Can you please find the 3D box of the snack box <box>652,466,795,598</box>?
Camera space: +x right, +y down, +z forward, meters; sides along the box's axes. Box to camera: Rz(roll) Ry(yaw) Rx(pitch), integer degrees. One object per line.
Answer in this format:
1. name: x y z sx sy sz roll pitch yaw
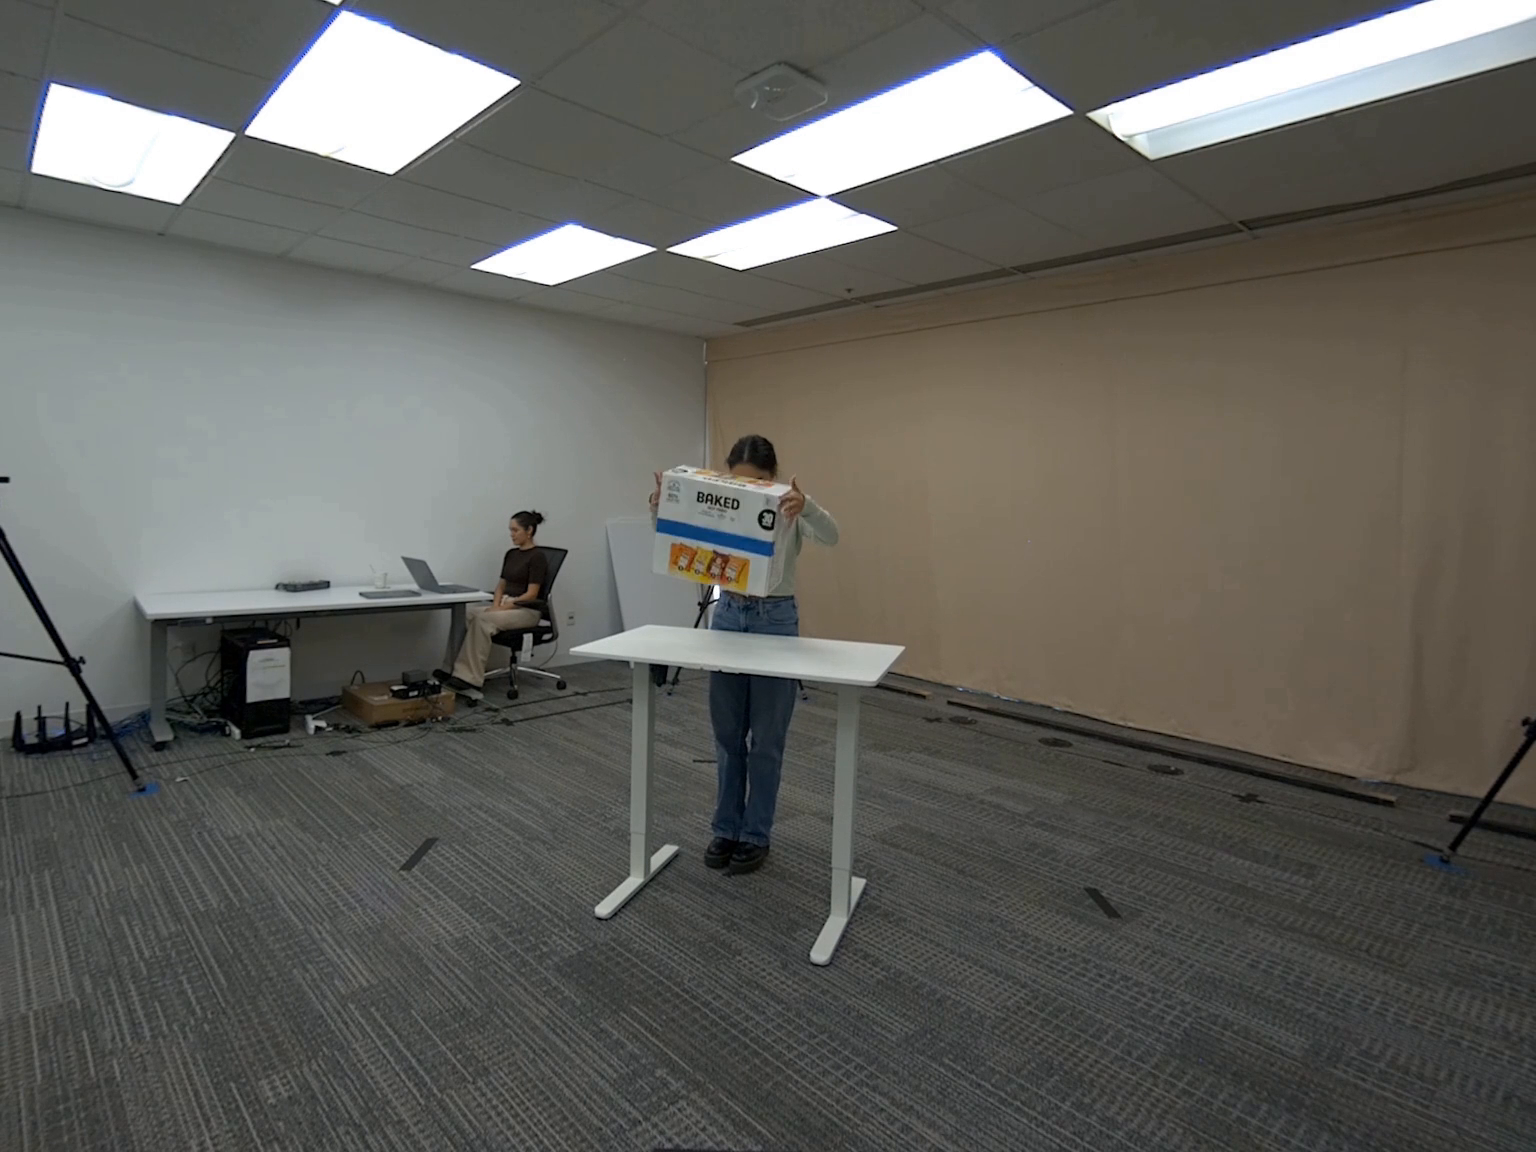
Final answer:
1. snack box: -0.158 -0.146 2.792 0.411 0.337 0.204 14 16 16
